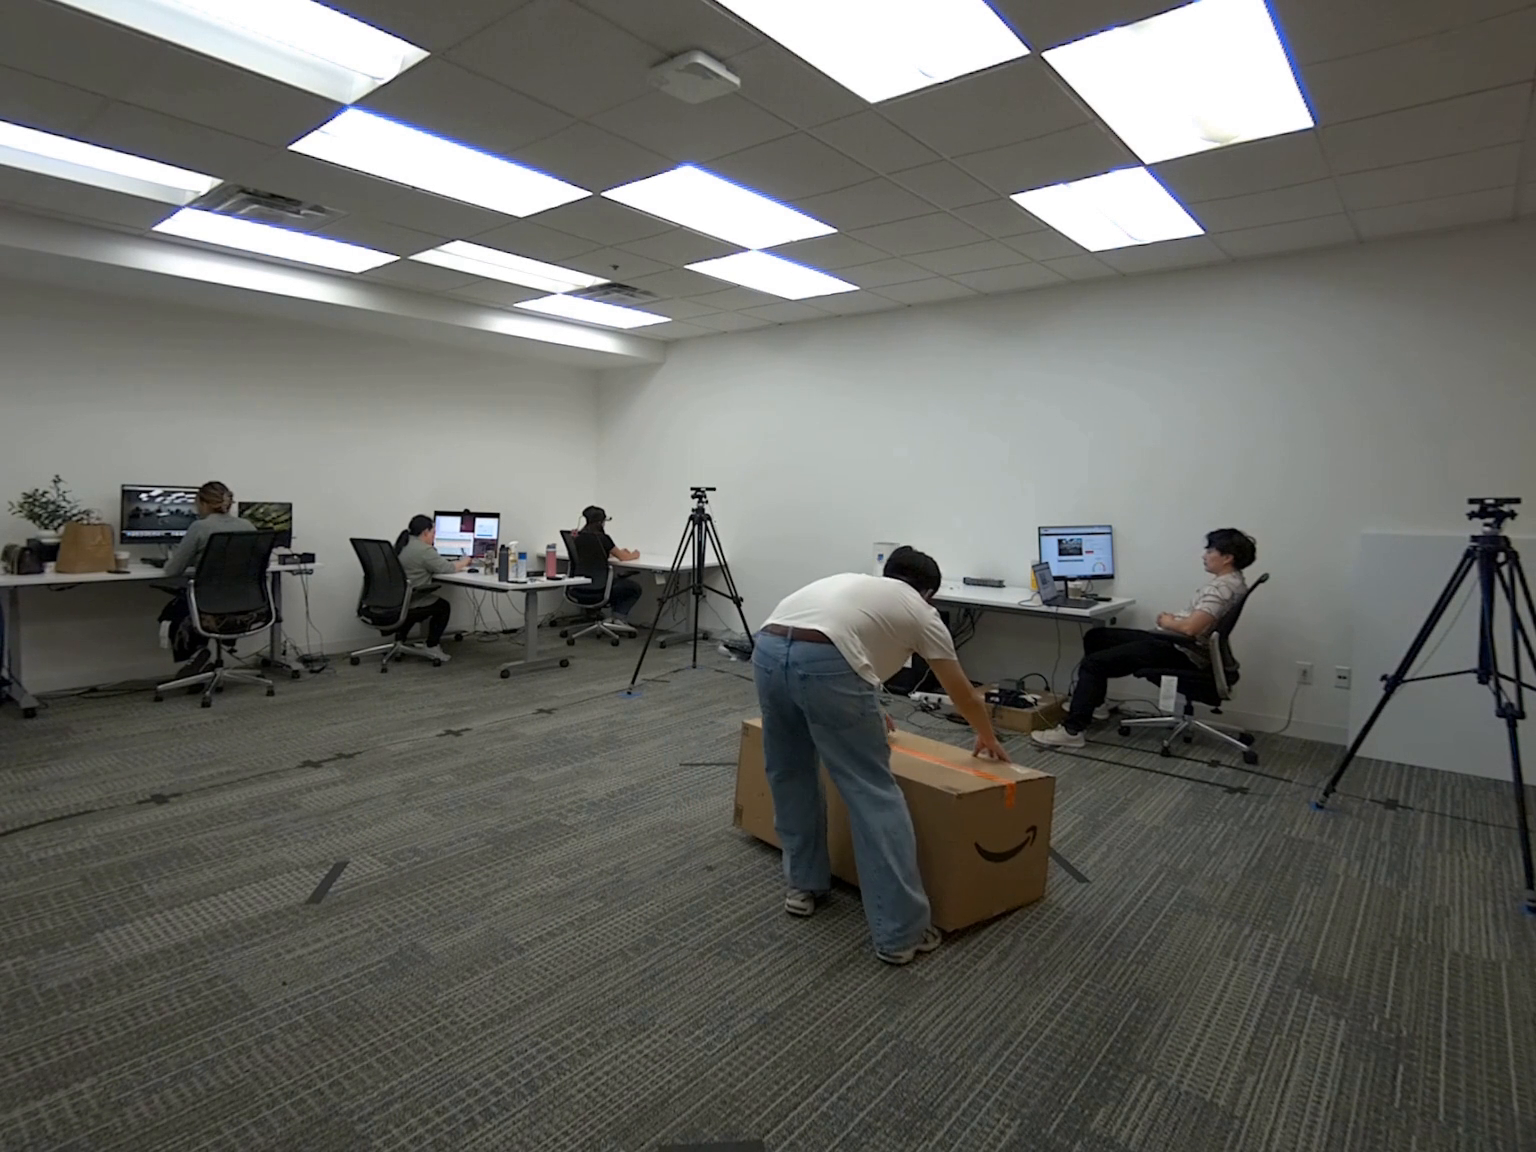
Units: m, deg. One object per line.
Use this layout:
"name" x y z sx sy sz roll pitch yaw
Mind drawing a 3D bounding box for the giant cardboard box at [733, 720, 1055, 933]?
"giant cardboard box" 0.418 0.836 3.165 0.558 0.426 1.061 5 2 -41
